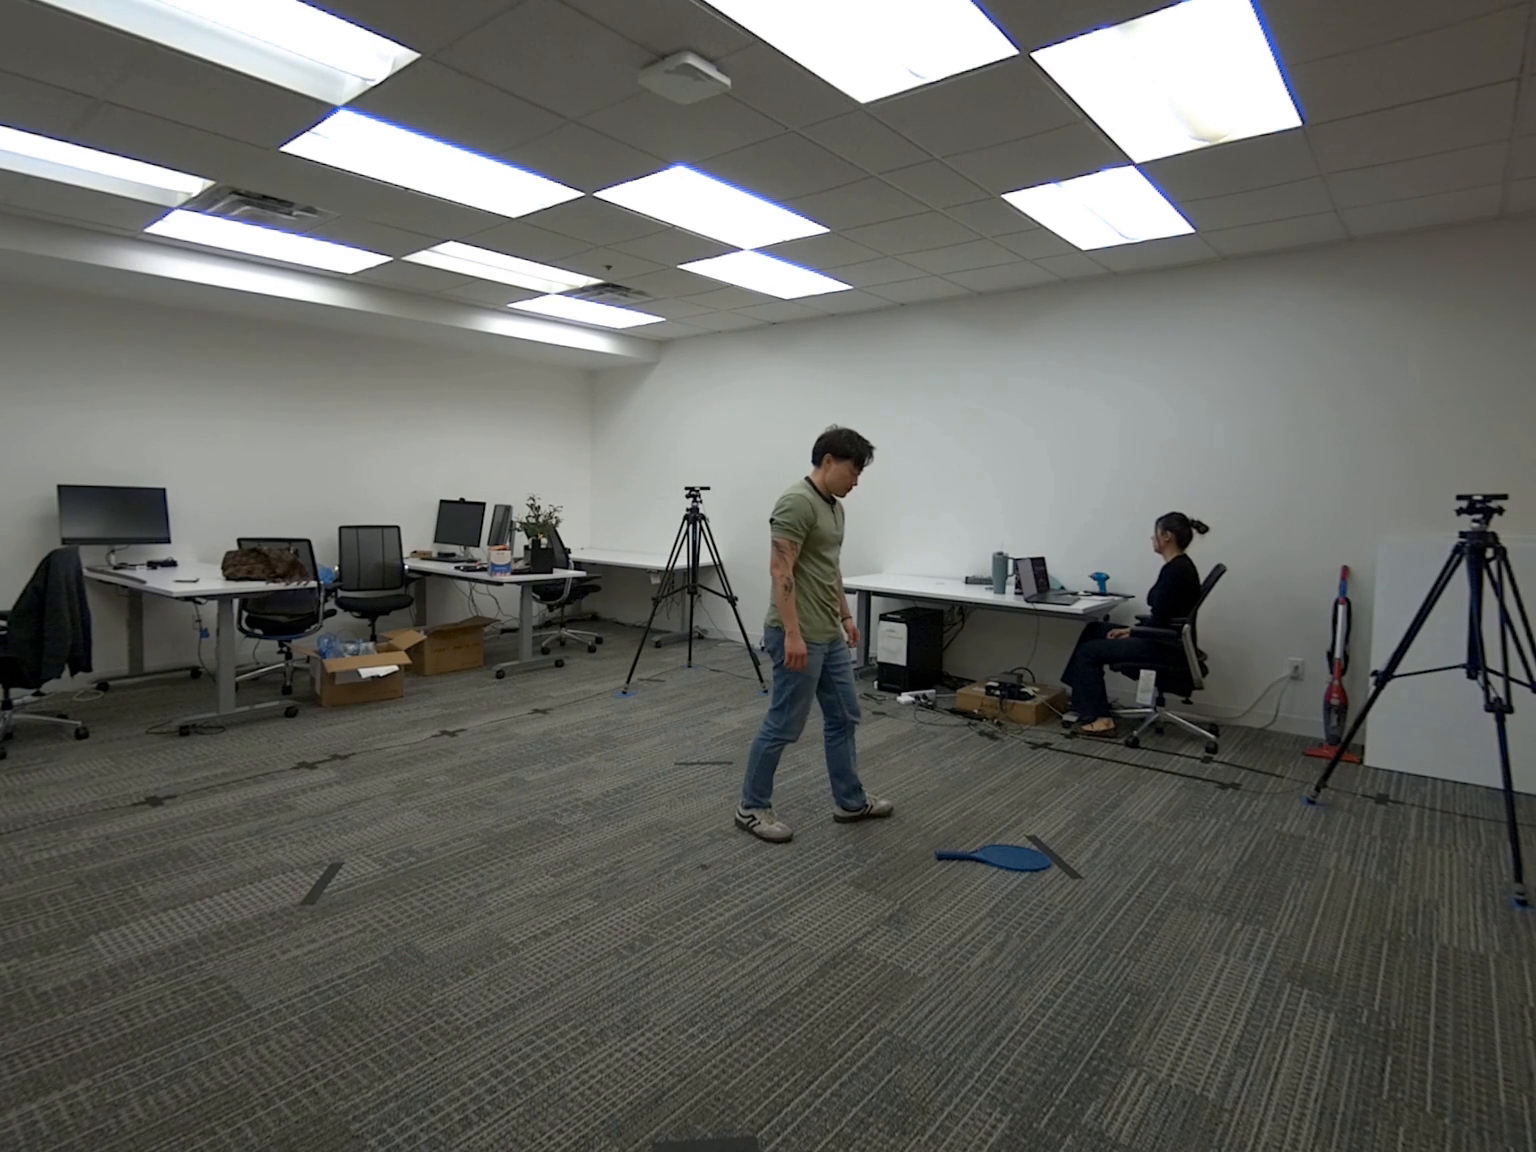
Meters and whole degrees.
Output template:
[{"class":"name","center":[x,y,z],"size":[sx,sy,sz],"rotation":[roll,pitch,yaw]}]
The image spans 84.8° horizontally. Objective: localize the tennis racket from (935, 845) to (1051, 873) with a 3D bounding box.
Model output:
[{"class":"tennis racket","center":[0.841,1.060,3.236],"size":[0.433,0.031,0.215],"rotation":[2,6,-1]}]
